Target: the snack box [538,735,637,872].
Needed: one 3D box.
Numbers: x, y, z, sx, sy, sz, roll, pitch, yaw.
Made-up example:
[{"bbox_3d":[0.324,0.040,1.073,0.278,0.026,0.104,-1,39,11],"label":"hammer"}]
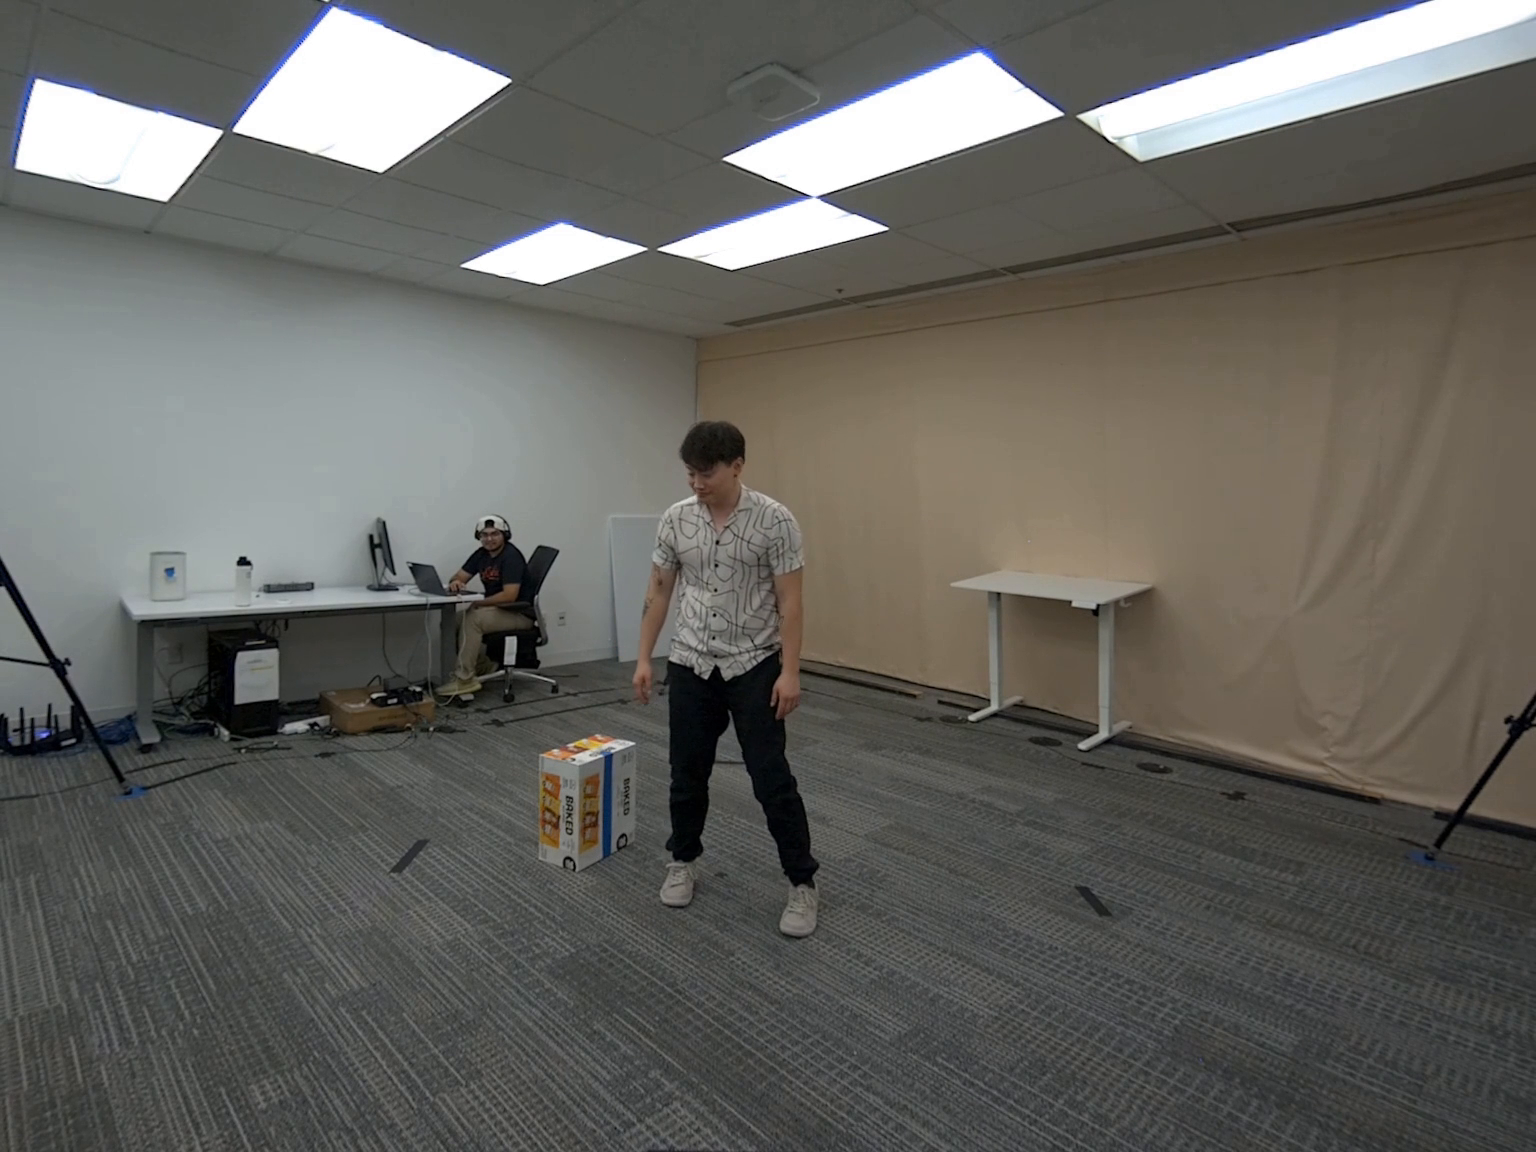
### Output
[{"bbox_3d":[-0.707,0.871,3.276,0.210,0.404,0.334,4,5,29],"label":"snack box"}]
